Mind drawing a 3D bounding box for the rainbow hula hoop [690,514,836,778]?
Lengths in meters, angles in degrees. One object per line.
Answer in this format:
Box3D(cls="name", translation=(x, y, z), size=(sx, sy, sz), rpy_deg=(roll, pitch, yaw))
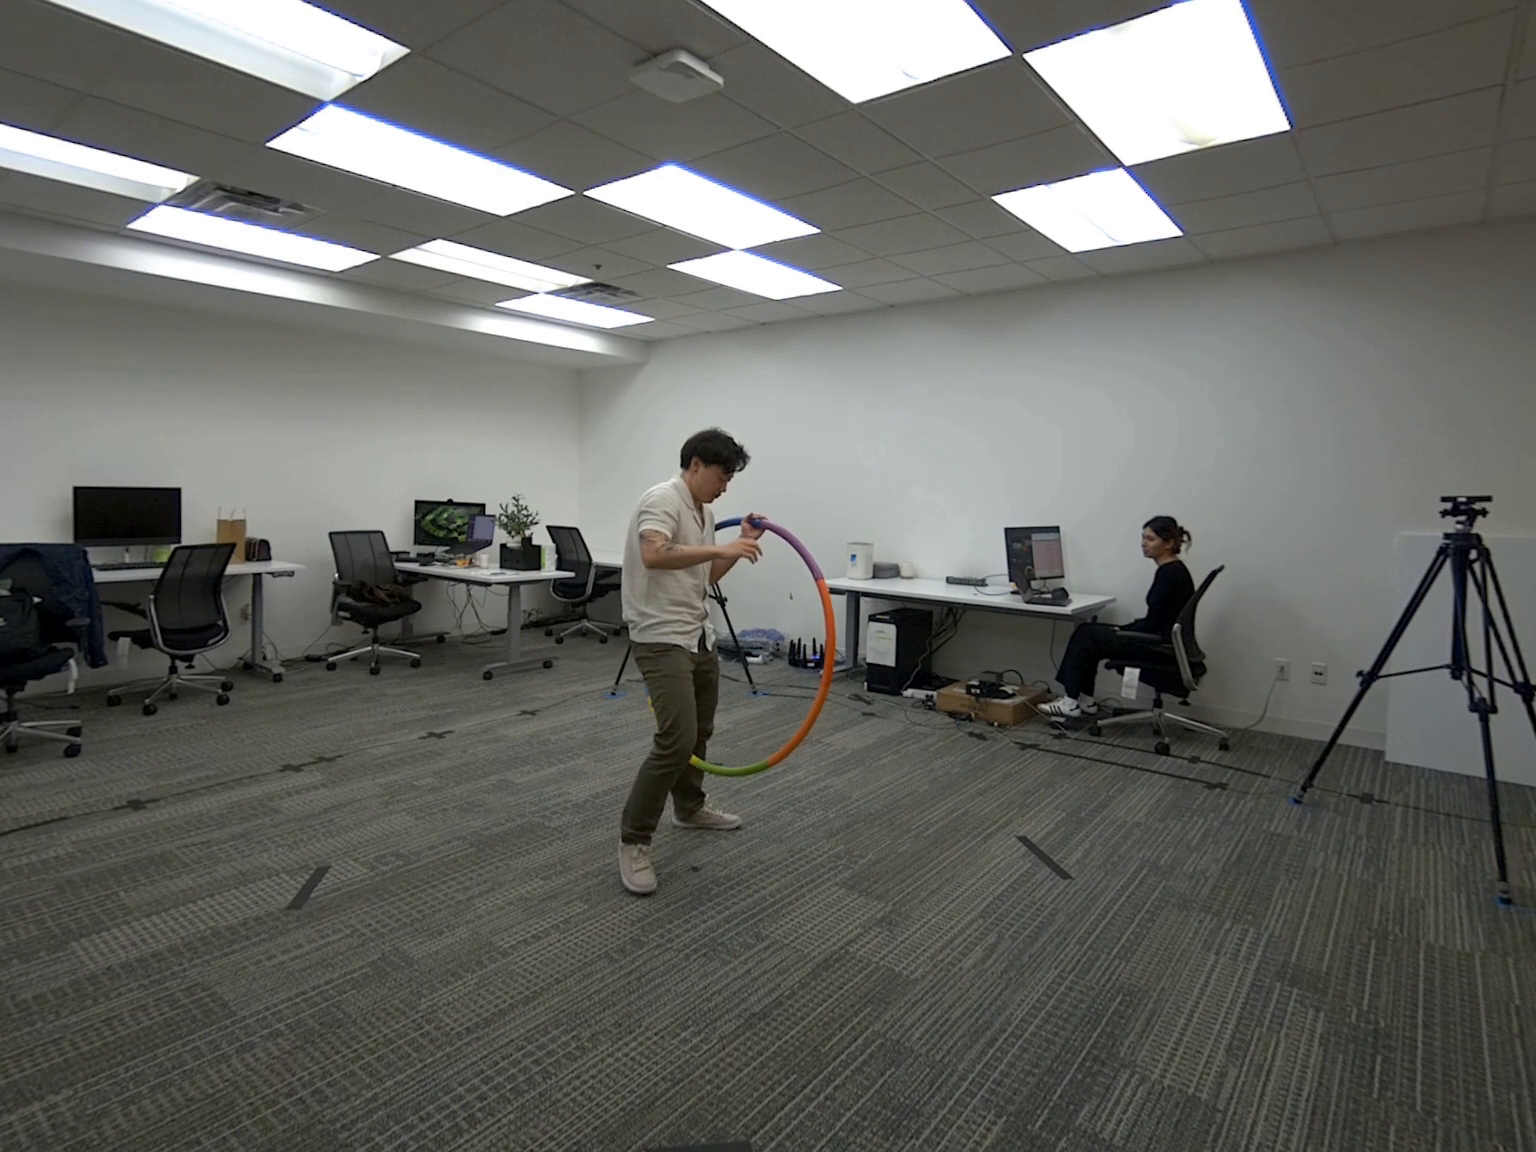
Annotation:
Box3D(cls="rainbow hula hoop", translation=(-0.157, 0.258, 3.275), size=(1.012, 0.983, 0.034), rpy_deg=(4, -8, 42))
